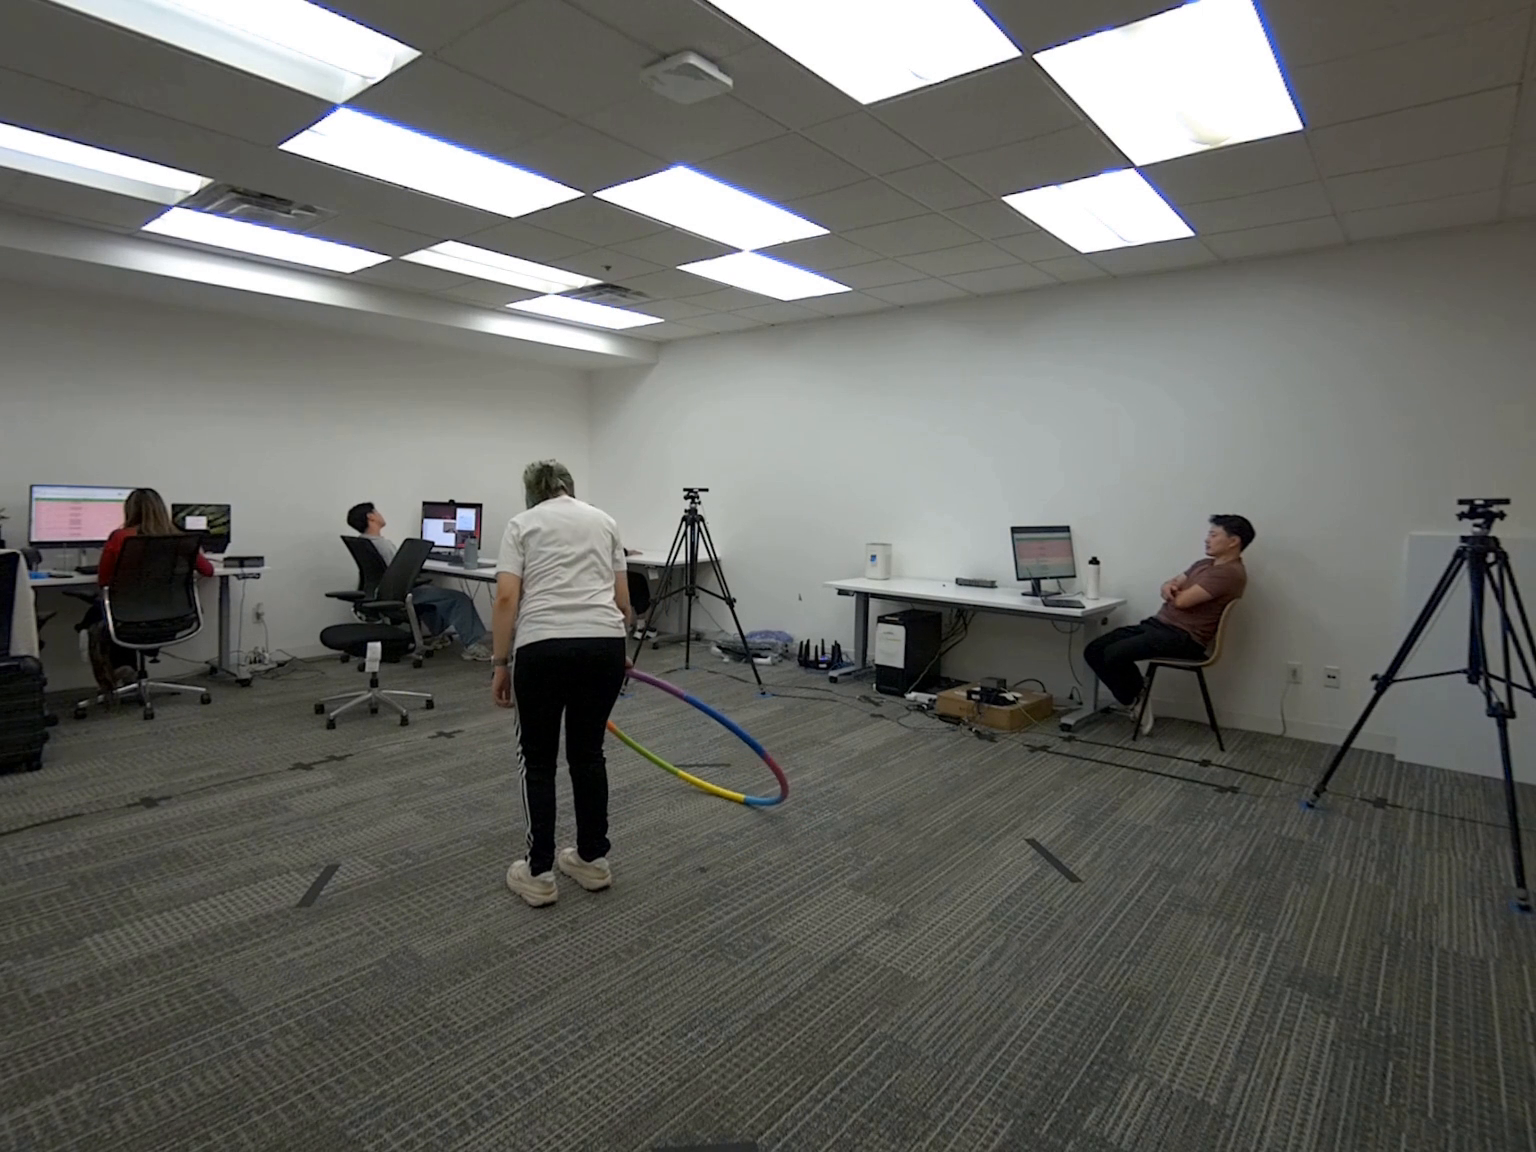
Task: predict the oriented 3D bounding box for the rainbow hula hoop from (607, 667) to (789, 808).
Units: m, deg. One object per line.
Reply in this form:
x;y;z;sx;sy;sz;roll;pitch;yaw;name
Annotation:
-0.377;0.668;3.534;0.998;0.036;0.954;24;-30;13;rainbow hula hoop
